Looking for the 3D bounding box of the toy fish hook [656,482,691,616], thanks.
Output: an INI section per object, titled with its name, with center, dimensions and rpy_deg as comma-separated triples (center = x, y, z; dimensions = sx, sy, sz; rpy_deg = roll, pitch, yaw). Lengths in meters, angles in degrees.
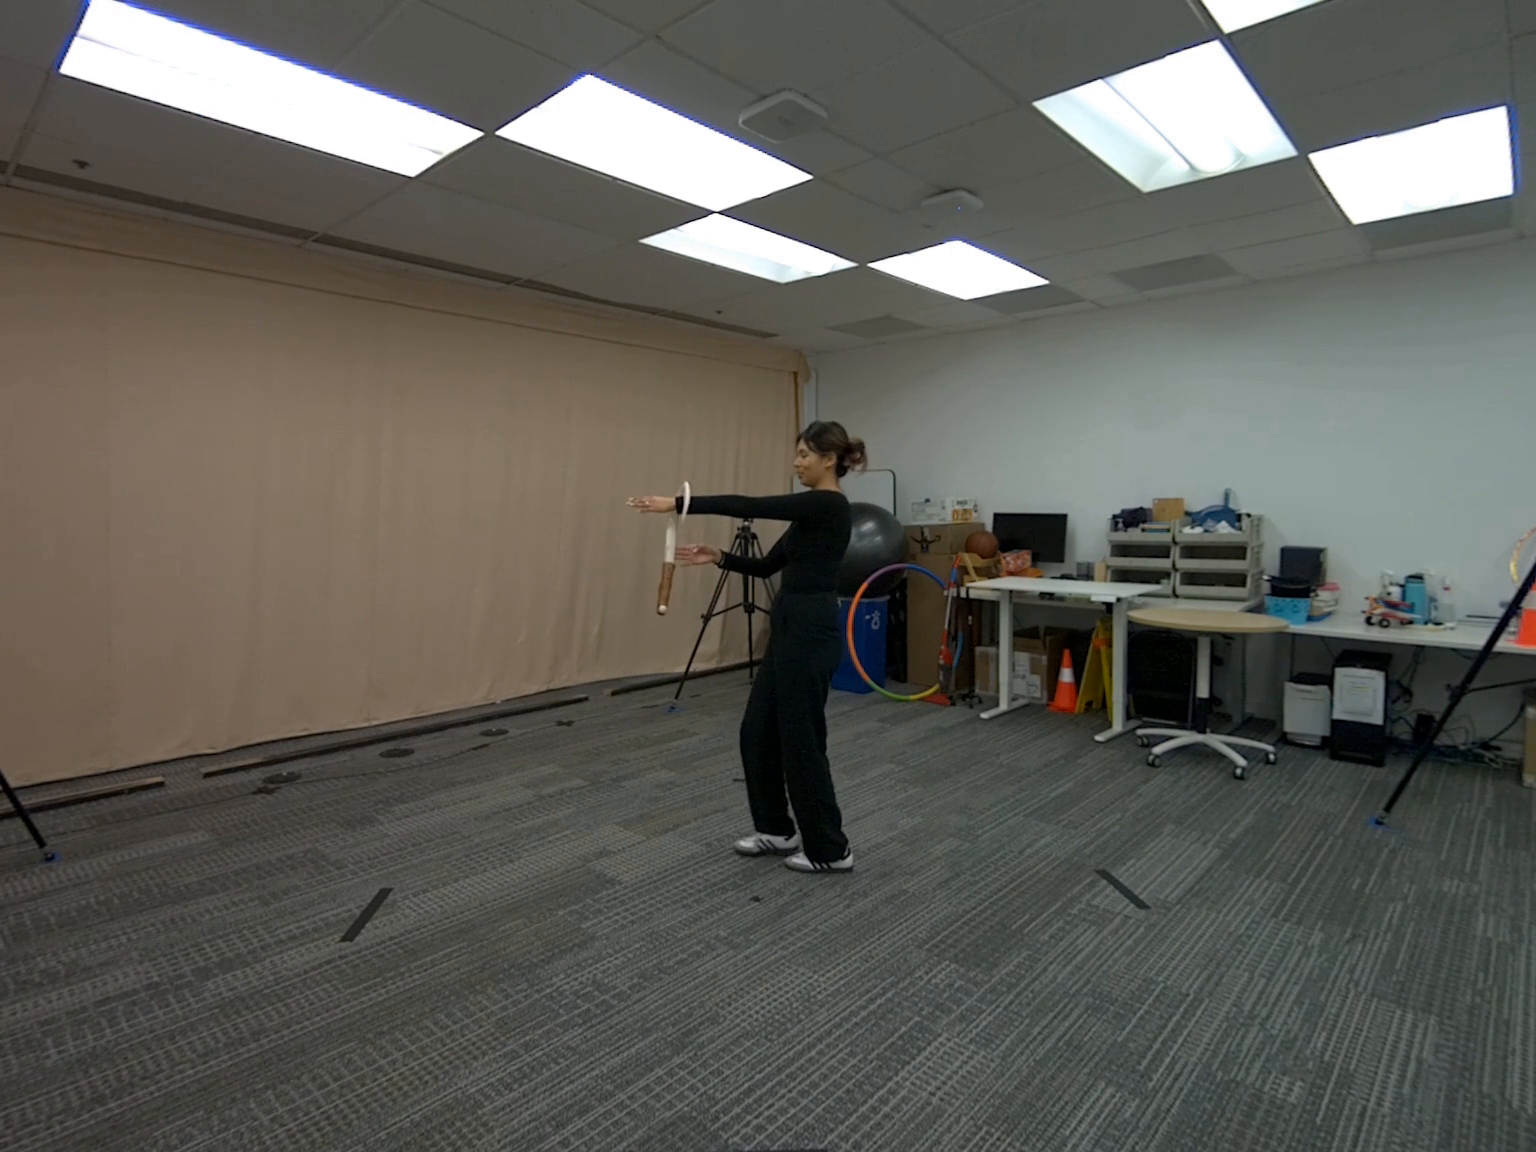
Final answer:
[toy fish hook]
center = -0.336, -0.106, 3.032
dimensions = 0.048, 0.513, 0.224
rpy_deg = 11, -29, -12
